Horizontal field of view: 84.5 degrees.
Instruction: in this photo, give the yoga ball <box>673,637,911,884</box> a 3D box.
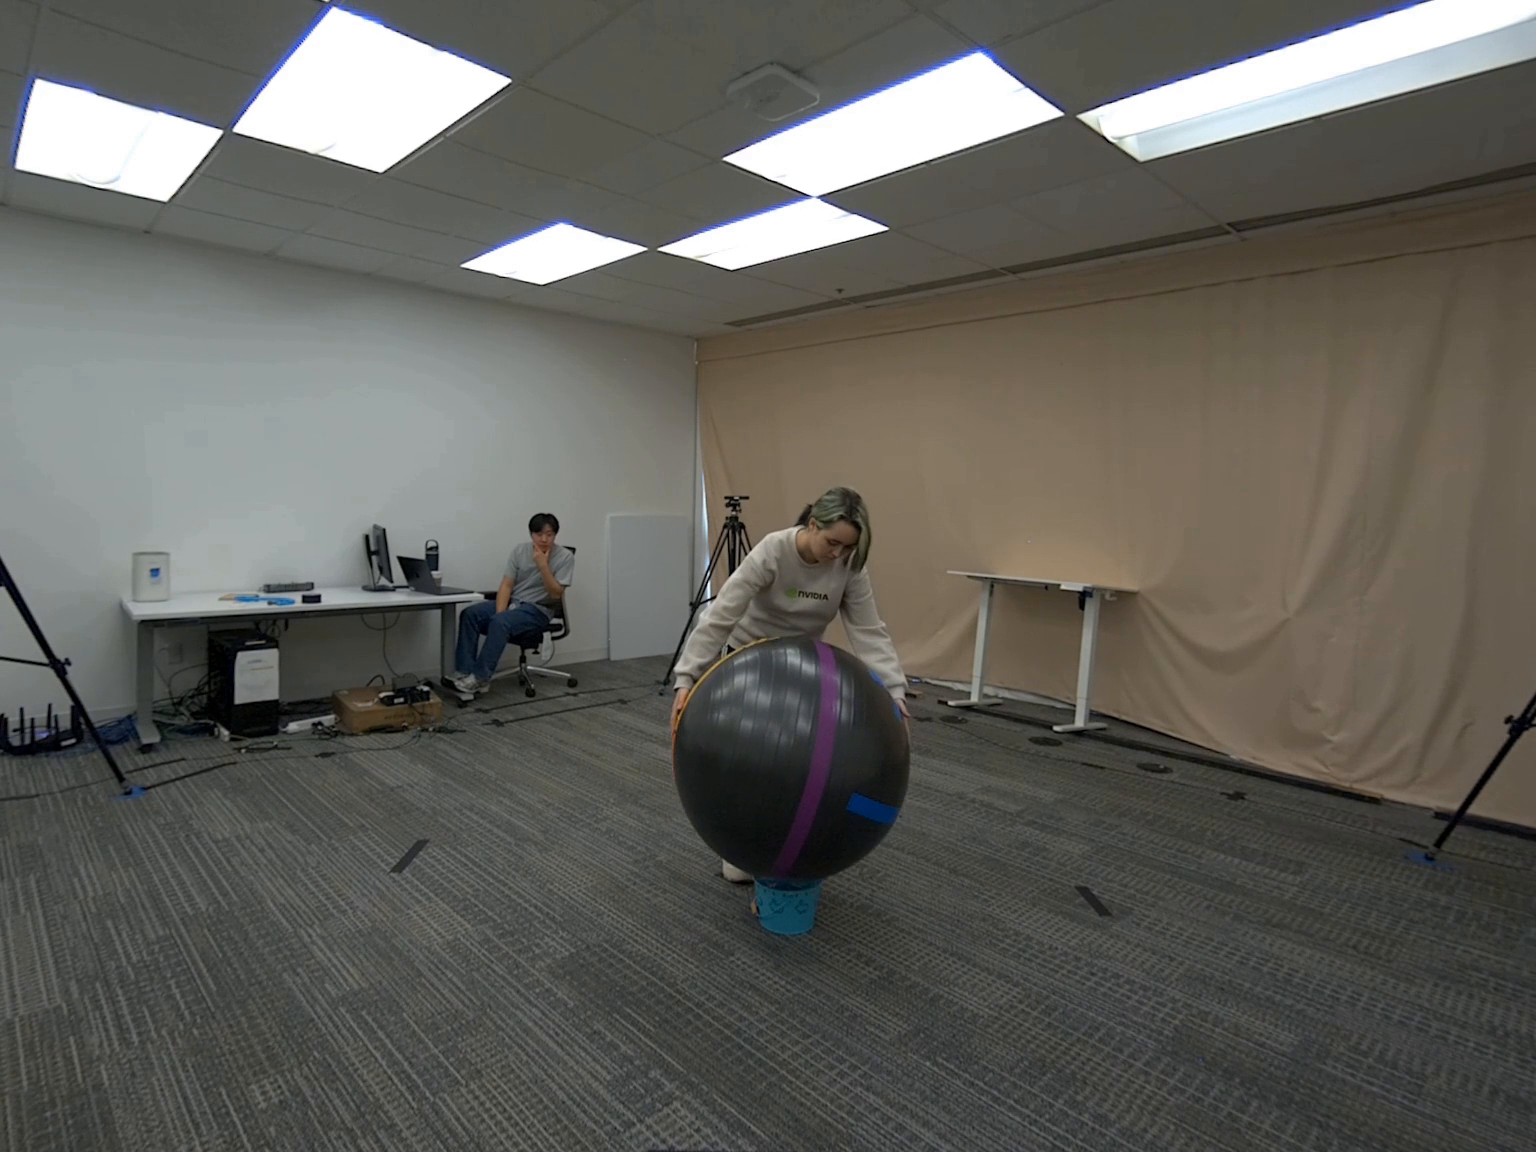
[{"bbox_3d":[0.069,0.586,2.697,0.757,0.756,0.761,1,4,-1],"label":"yoga ball"}]
